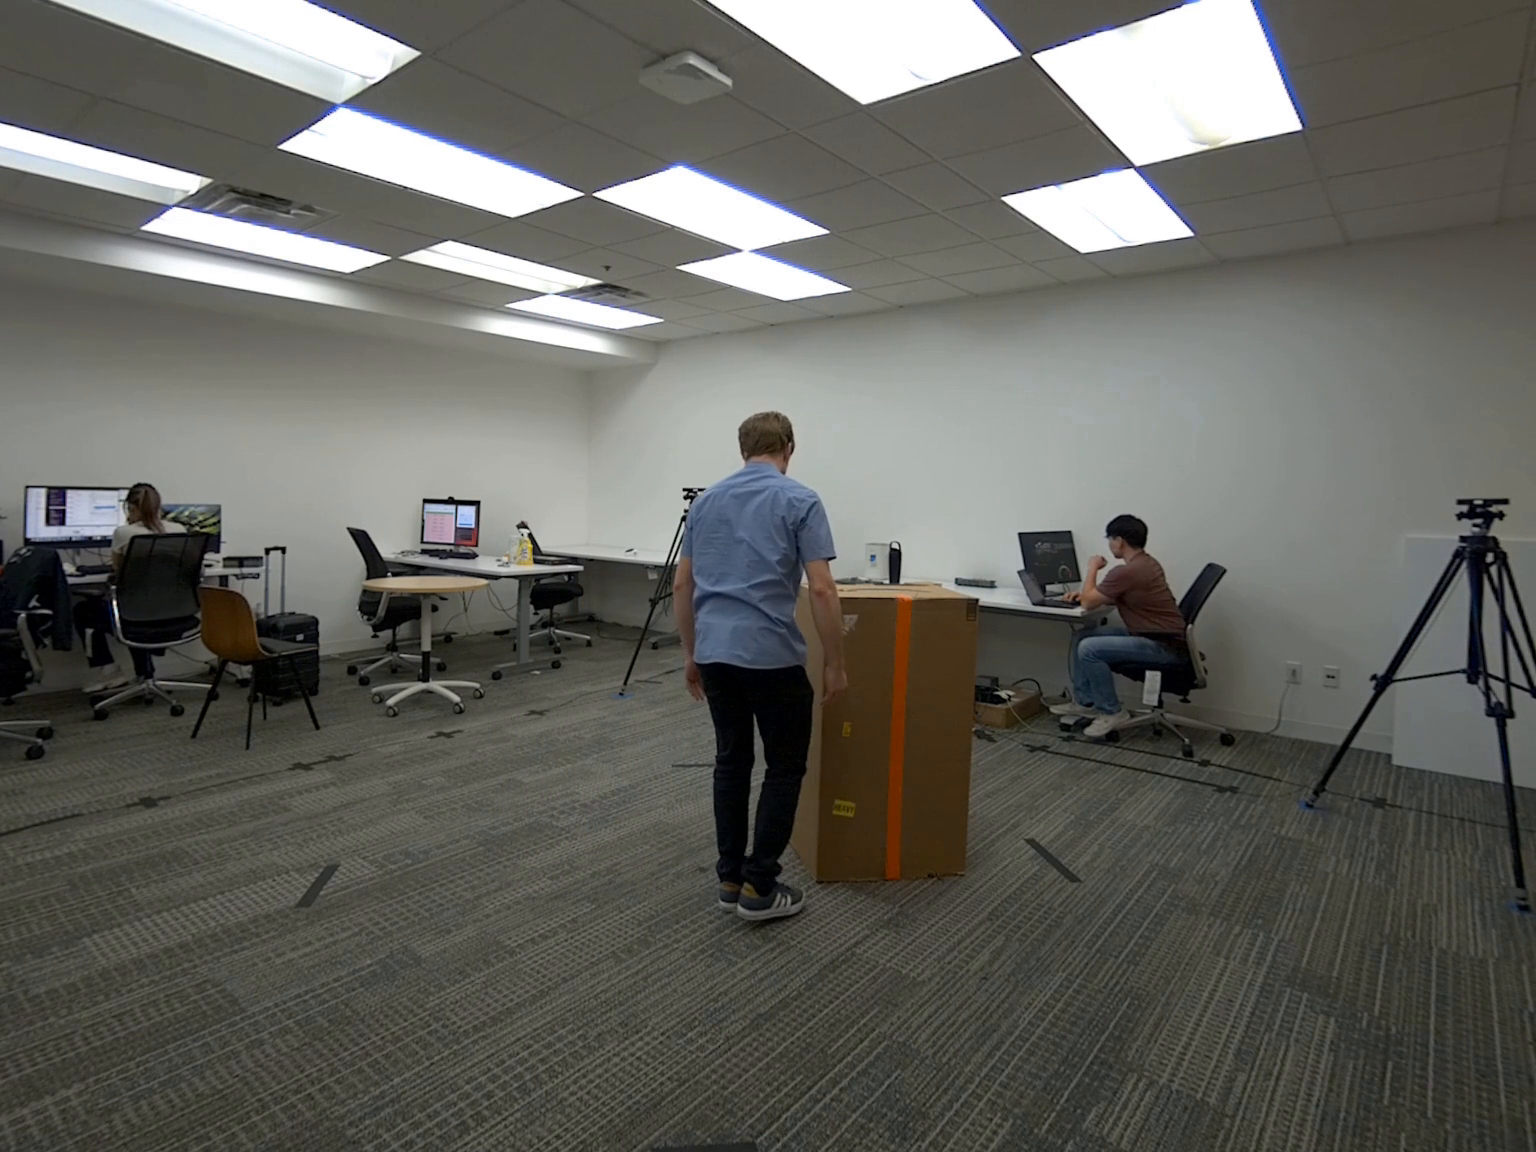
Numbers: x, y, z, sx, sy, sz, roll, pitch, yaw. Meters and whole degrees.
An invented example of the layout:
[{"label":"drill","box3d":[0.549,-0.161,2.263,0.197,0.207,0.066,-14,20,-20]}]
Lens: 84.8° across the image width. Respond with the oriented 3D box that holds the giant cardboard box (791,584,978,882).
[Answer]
[{"label":"giant cardboard box","box3d":[0.416,0.563,3.250,0.571,1.023,0.432,1,3,-11]}]
